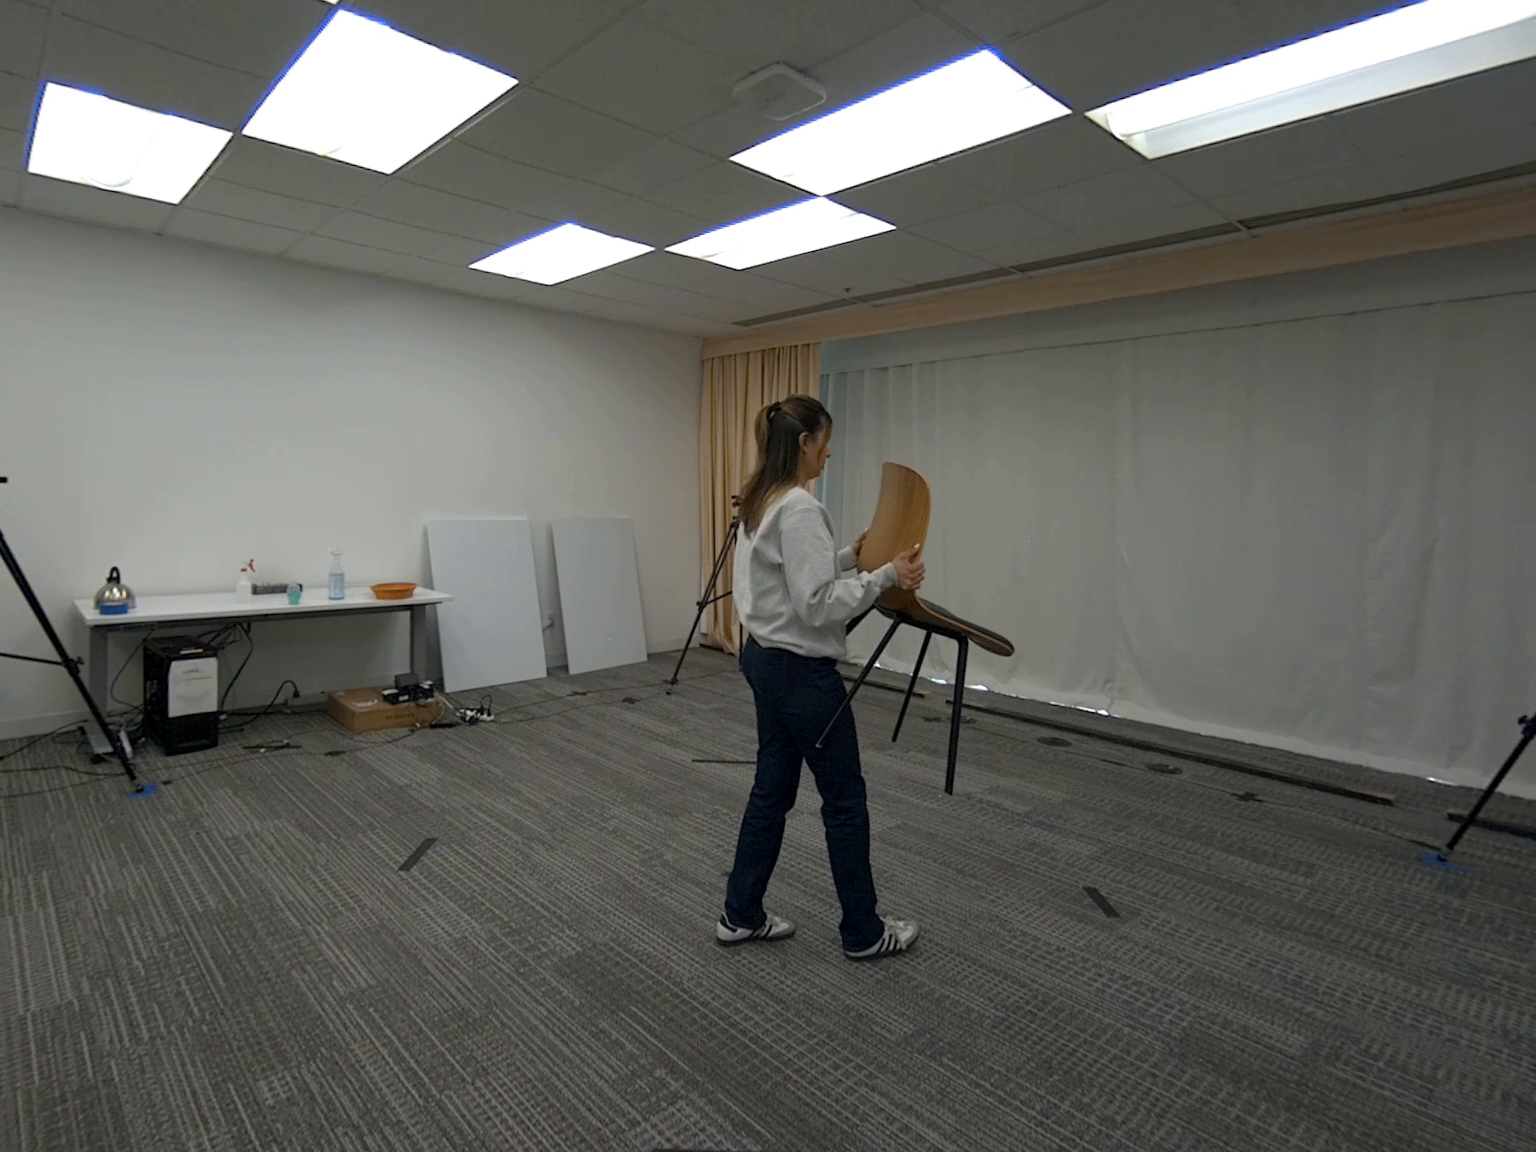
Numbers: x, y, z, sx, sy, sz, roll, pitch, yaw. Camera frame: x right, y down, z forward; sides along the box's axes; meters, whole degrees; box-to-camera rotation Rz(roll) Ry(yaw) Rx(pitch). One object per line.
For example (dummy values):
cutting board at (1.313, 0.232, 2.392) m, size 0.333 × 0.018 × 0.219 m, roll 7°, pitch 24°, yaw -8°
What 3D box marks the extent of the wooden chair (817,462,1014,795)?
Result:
wooden chair at (0.463, 0.145, 2.633) m, size 0.516 × 0.876 × 0.485 m, roll 18°, pitch 3°, yaw -14°
